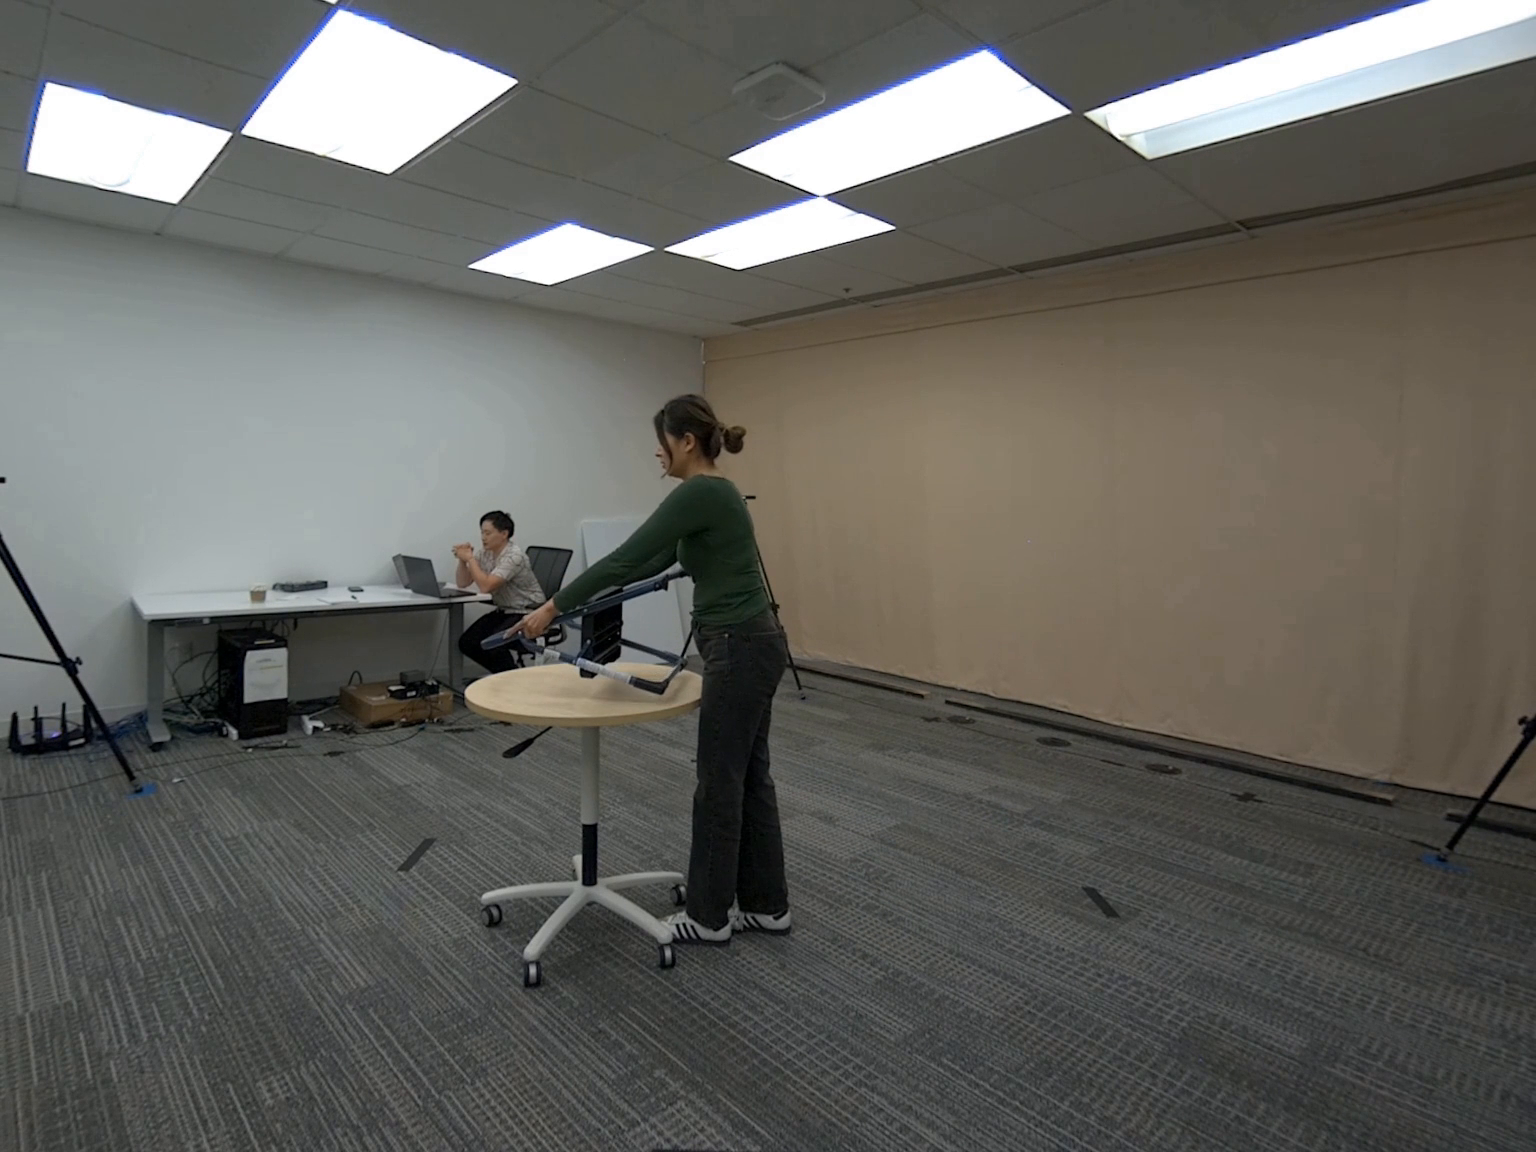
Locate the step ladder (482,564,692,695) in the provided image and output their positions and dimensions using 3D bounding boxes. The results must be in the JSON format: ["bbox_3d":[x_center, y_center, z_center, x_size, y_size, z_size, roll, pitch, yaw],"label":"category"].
[{"bbox_3d":[-0.583,0.145,2.659,0.609,0.348,0.429,2,4,6],"label":"step ladder"}]
